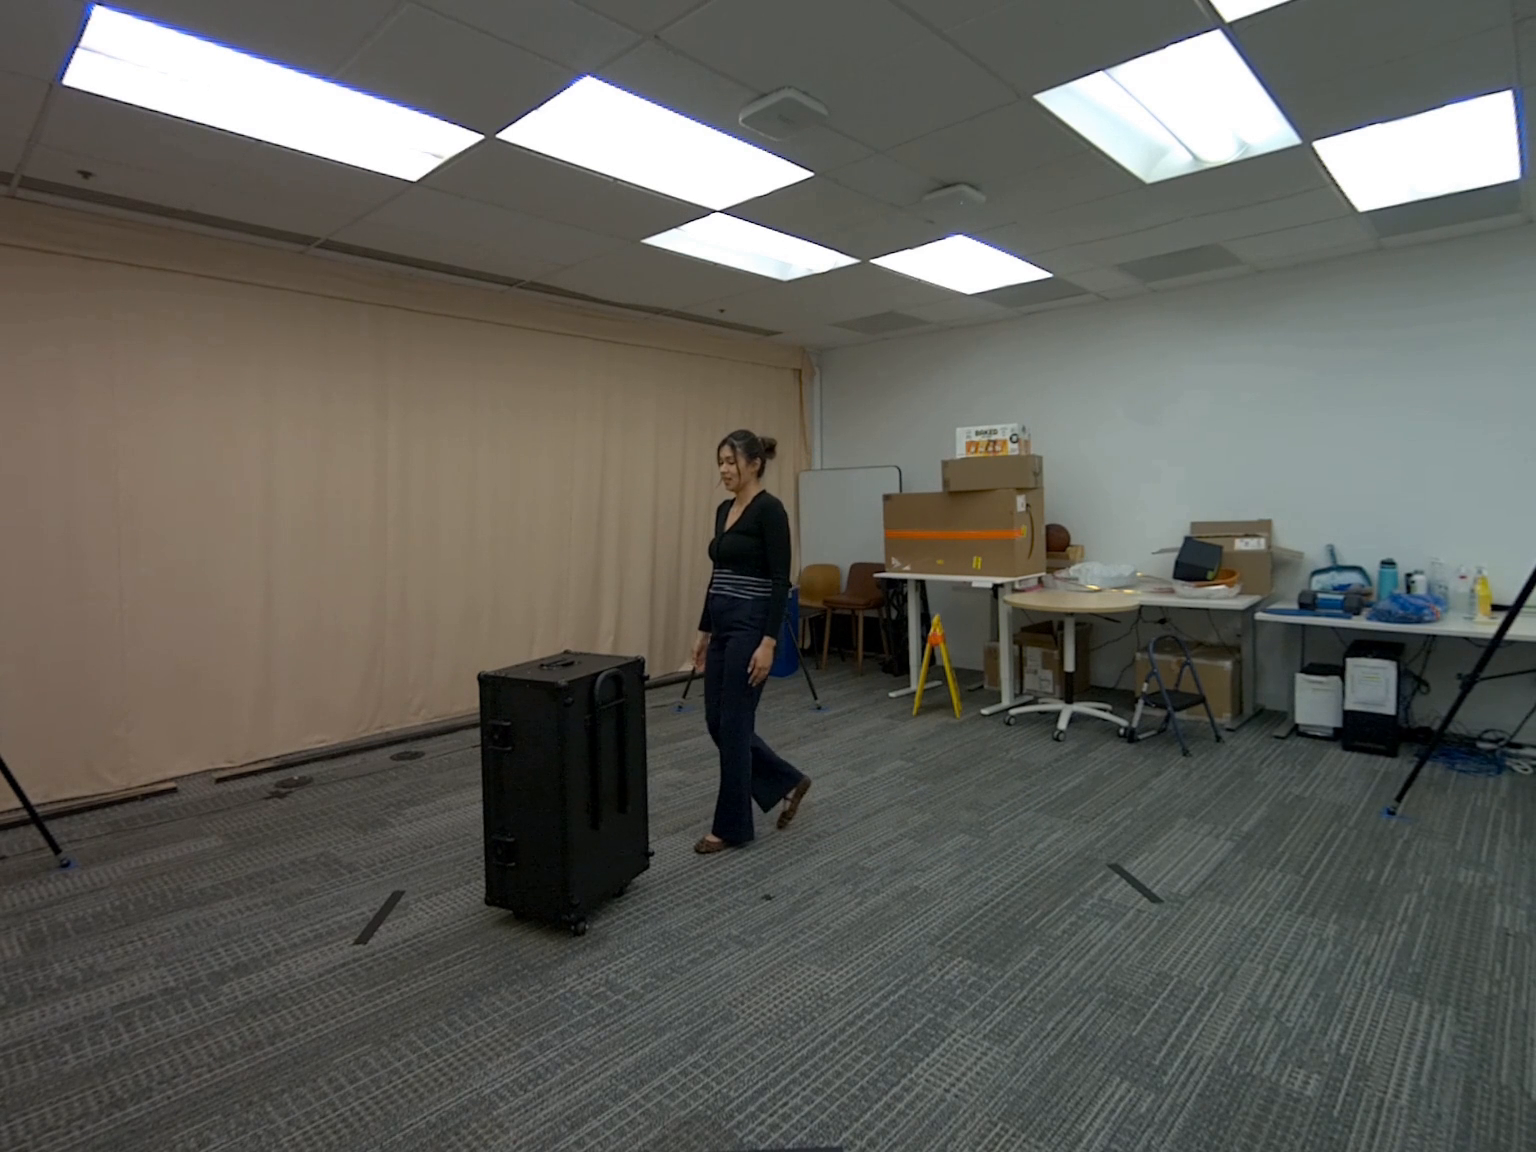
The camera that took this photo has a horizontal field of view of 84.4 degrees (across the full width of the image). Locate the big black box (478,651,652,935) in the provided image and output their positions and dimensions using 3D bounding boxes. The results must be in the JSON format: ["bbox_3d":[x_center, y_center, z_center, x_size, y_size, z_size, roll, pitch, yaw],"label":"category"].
[{"bbox_3d":[-0.684,0.733,2.940,0.407,0.860,0.509,1,4,25],"label":"big black box"}]
